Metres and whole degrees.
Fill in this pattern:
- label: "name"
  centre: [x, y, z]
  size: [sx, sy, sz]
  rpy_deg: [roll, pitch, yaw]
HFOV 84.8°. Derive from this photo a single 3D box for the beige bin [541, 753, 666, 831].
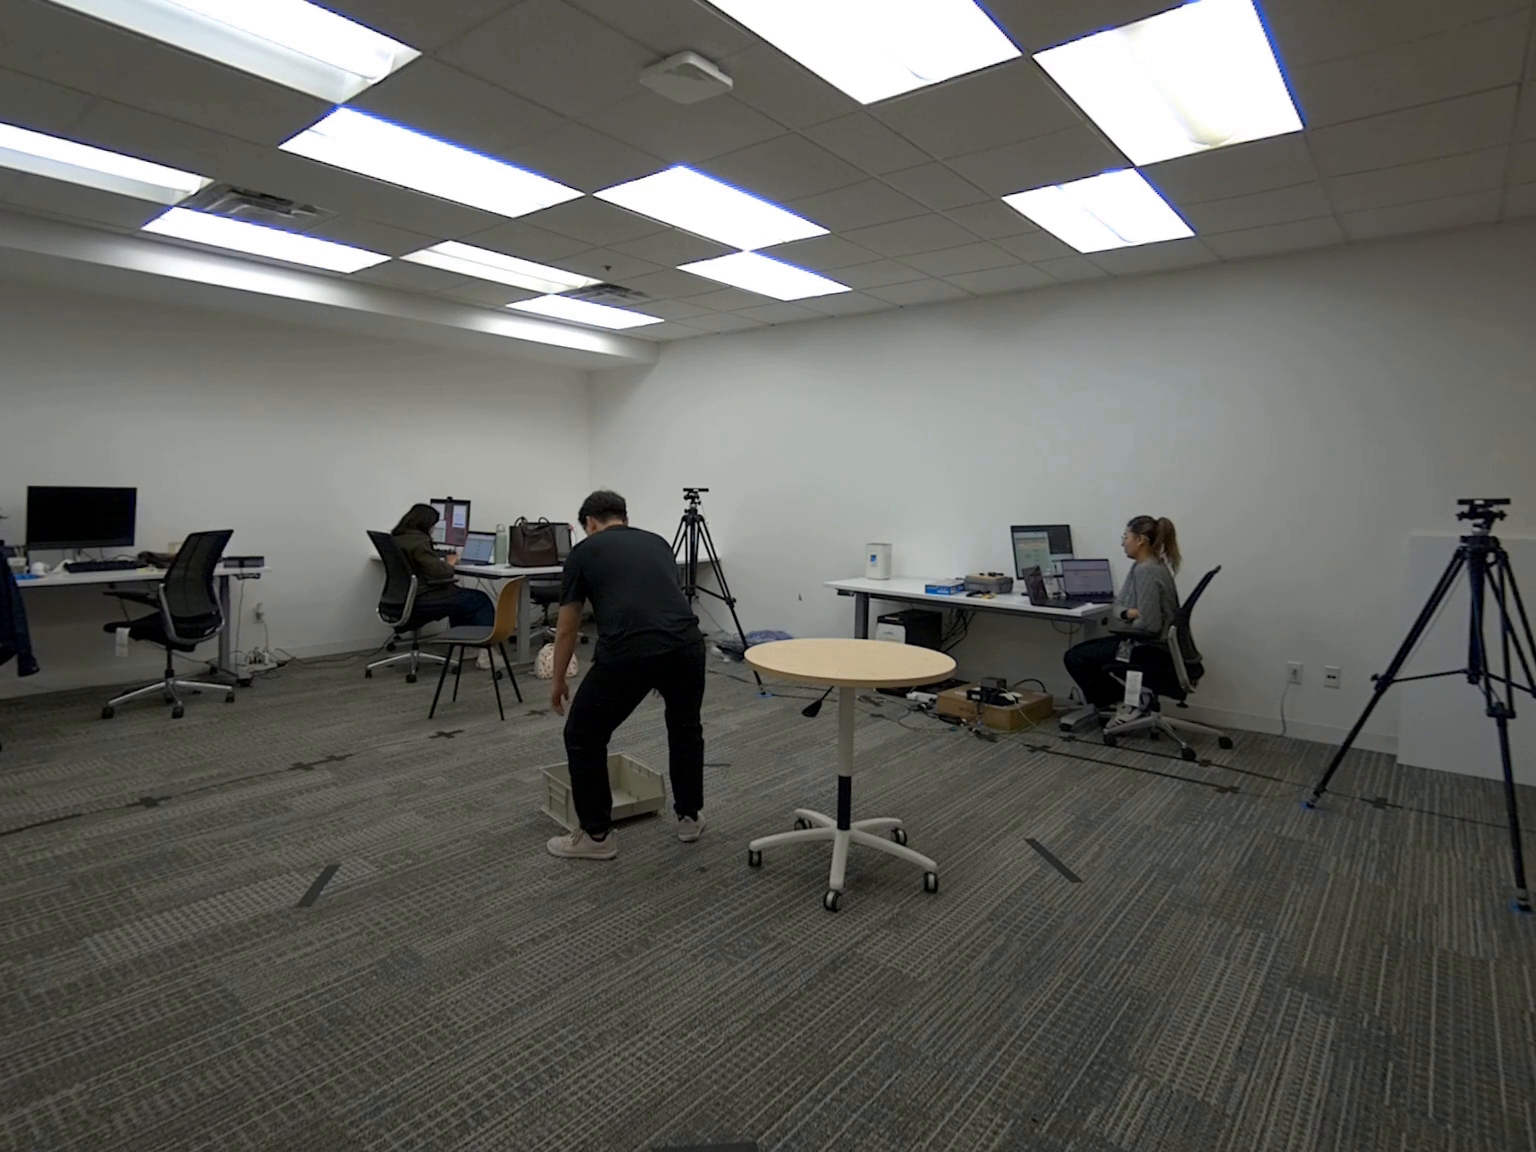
- label: "beige bin"
  centre: [-0.723, 0.924, 3.643]
  size: [0.410, 0.188, 0.390]
  rpy_deg: [-3, 6, -38]
